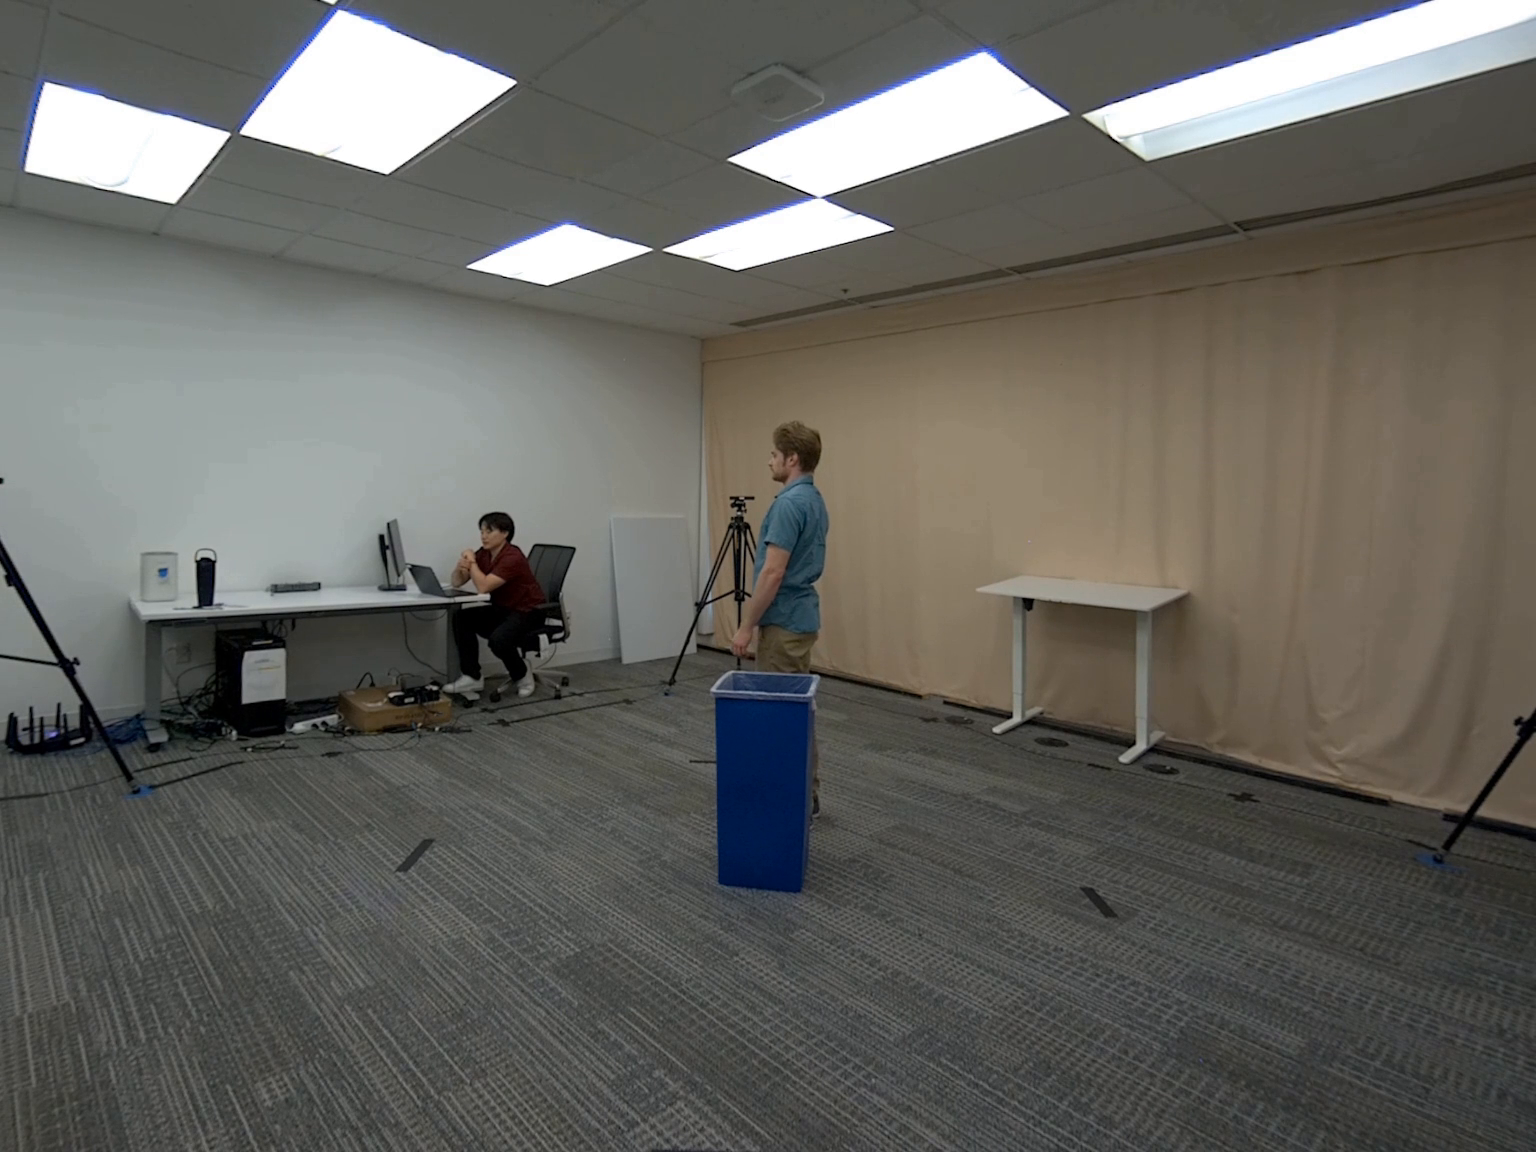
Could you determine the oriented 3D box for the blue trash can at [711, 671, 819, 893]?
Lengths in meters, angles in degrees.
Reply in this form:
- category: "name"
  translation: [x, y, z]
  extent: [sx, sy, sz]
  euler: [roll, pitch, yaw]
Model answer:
- category: "blue trash can"
  translation: [-0.021, 0.746, 3.135]
  extent: [0.381, 0.711, 0.372]
  euler: [1, 4, 9]
